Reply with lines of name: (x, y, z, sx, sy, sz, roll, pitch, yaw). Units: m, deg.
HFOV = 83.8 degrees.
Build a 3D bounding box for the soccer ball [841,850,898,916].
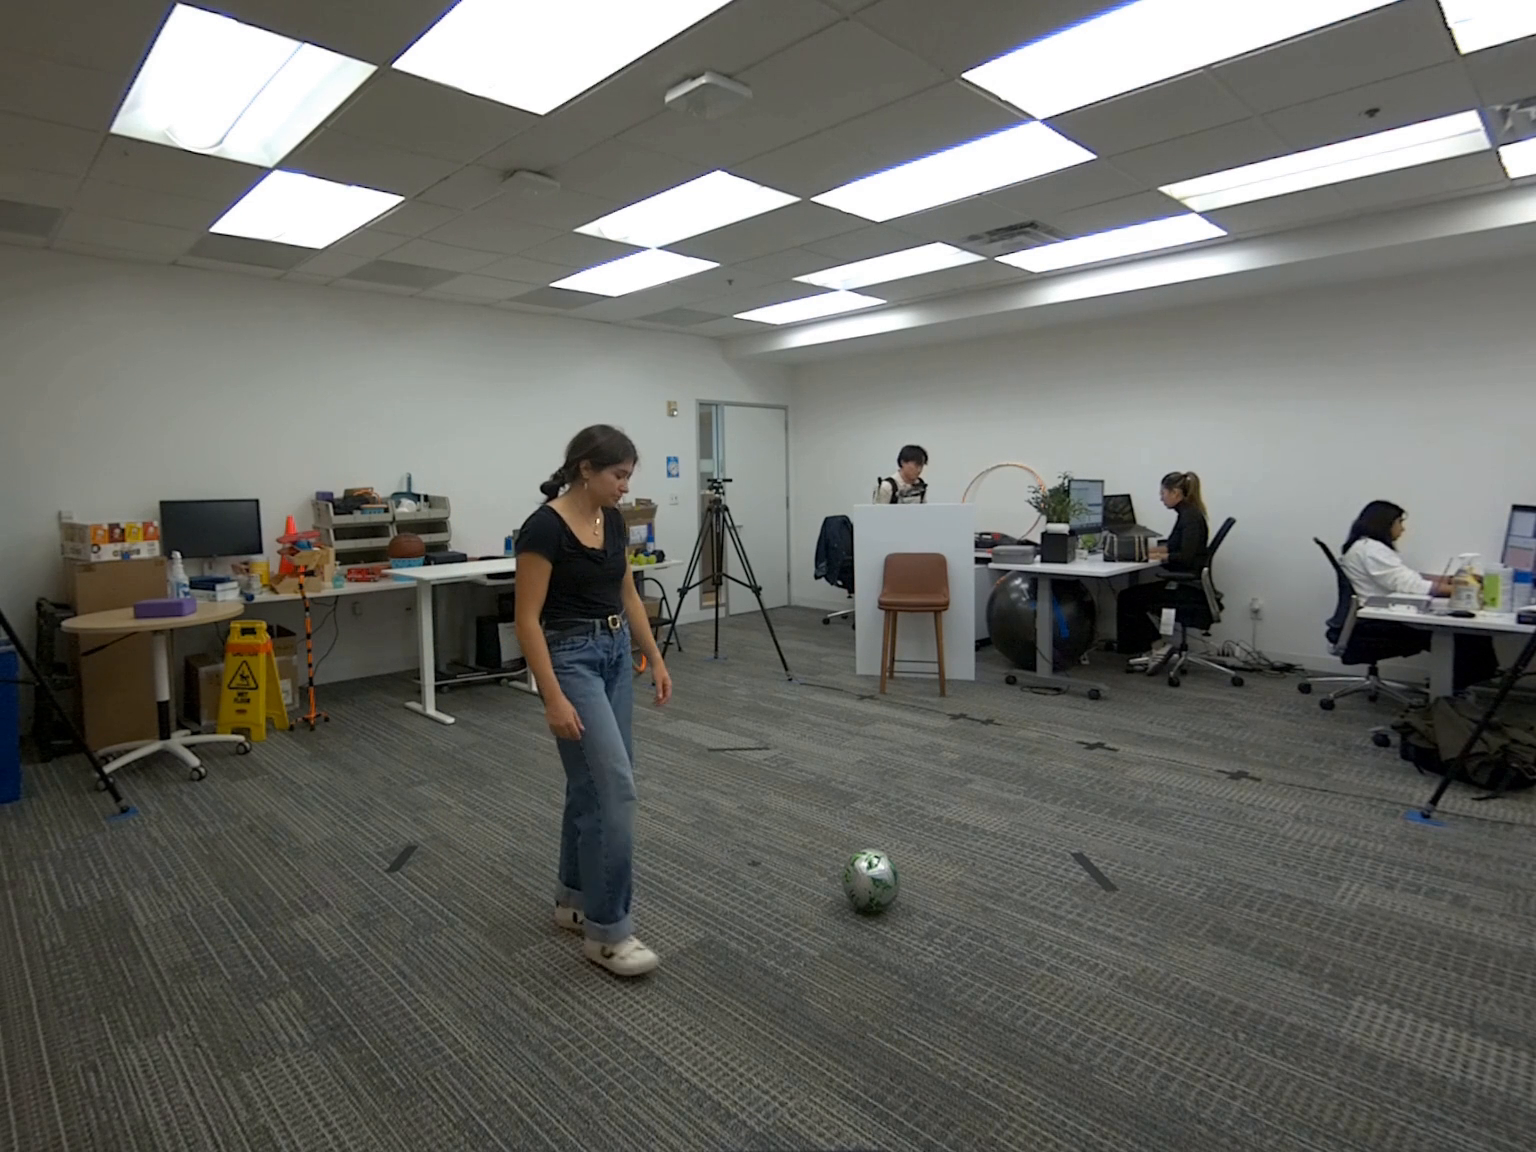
soccer ball: (0.339, 0.981, 2.767, 0.187, 0.187, 0.188, -1, 5, -2)
